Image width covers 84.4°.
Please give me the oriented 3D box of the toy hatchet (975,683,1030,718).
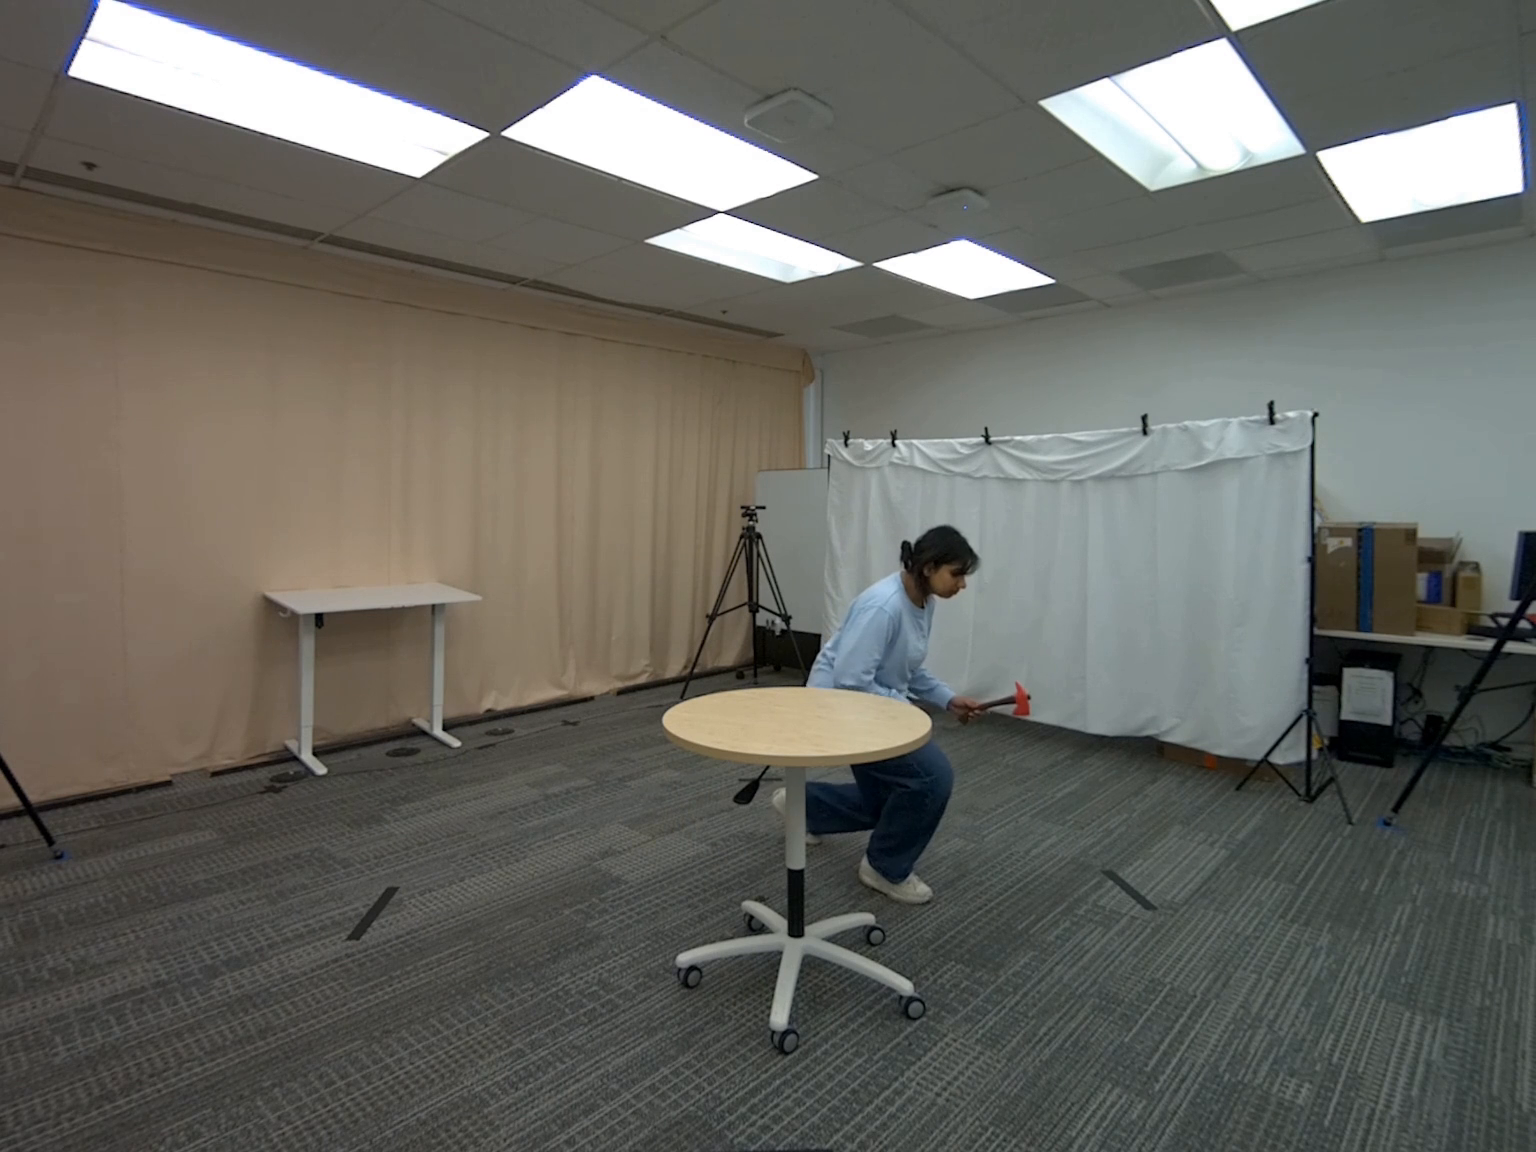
[{"bbox_3d":[0.843,0.493,3.073,0.273,0.131,0.029,-35,2,24],"label":"toy hatchet"}]
